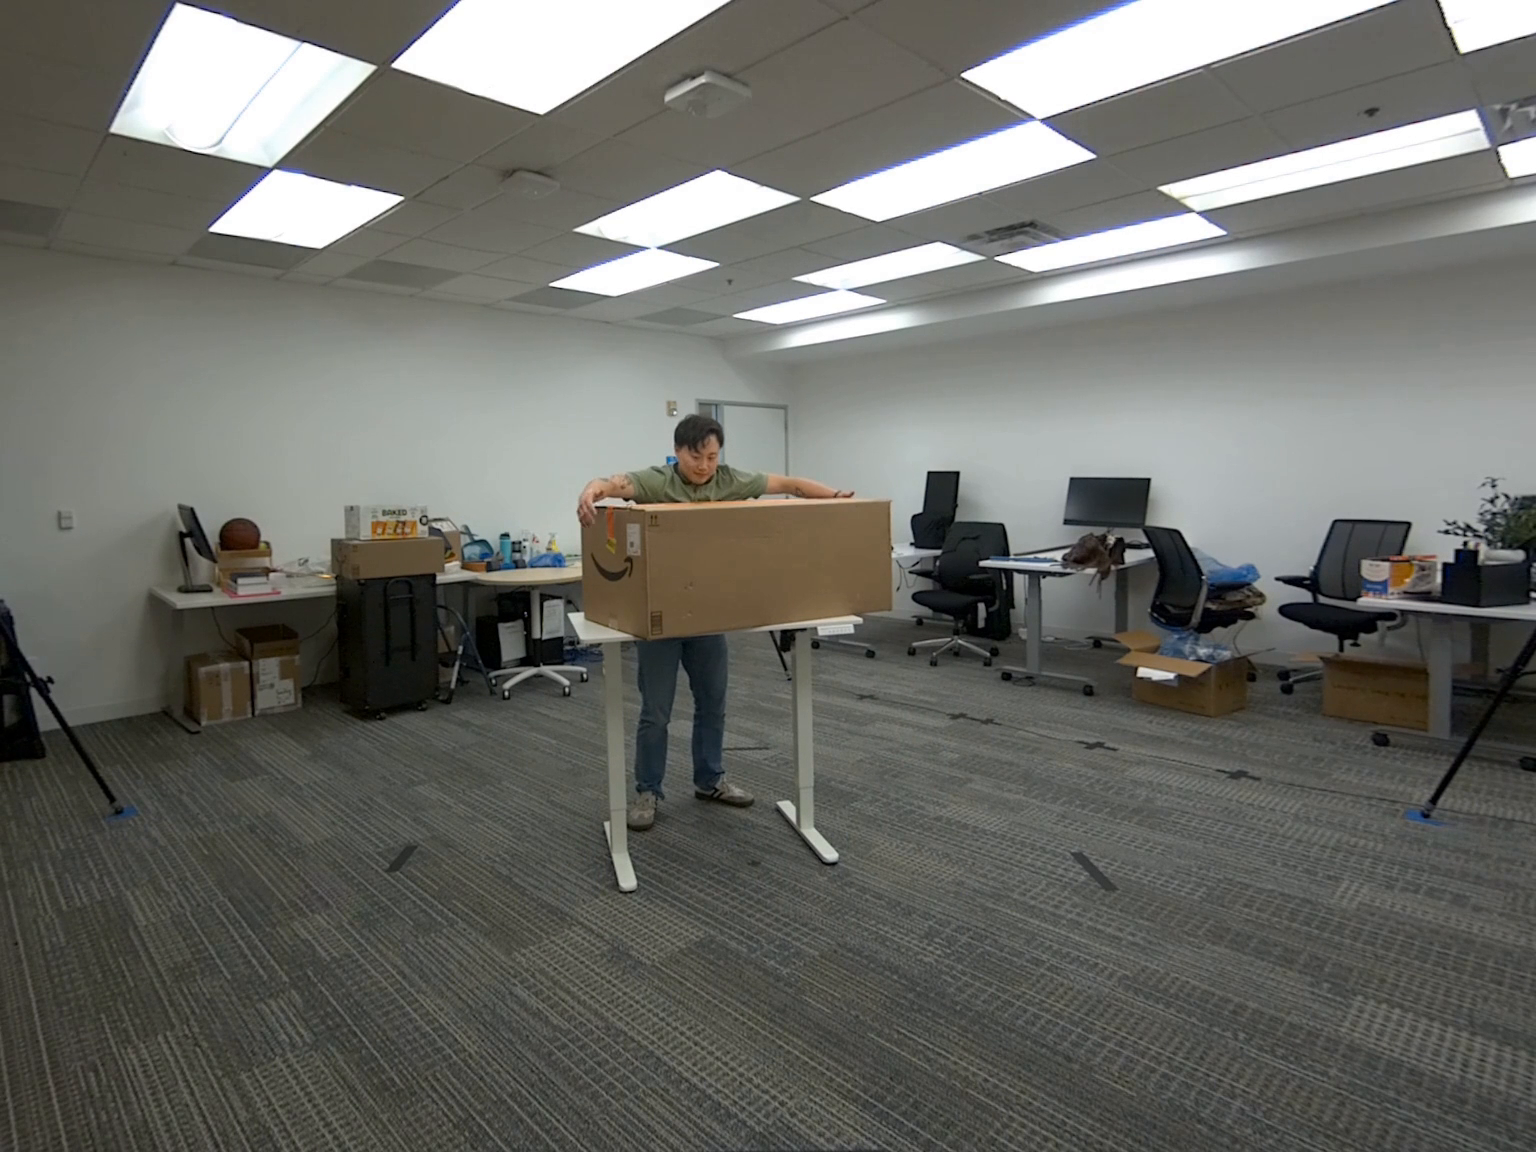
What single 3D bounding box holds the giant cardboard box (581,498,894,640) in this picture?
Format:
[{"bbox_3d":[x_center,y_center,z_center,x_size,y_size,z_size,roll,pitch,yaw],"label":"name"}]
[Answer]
[{"bbox_3d":[-0.114,-0.069,3.217,1.002,0.424,0.594,-6,7,-31],"label":"giant cardboard box"}]
